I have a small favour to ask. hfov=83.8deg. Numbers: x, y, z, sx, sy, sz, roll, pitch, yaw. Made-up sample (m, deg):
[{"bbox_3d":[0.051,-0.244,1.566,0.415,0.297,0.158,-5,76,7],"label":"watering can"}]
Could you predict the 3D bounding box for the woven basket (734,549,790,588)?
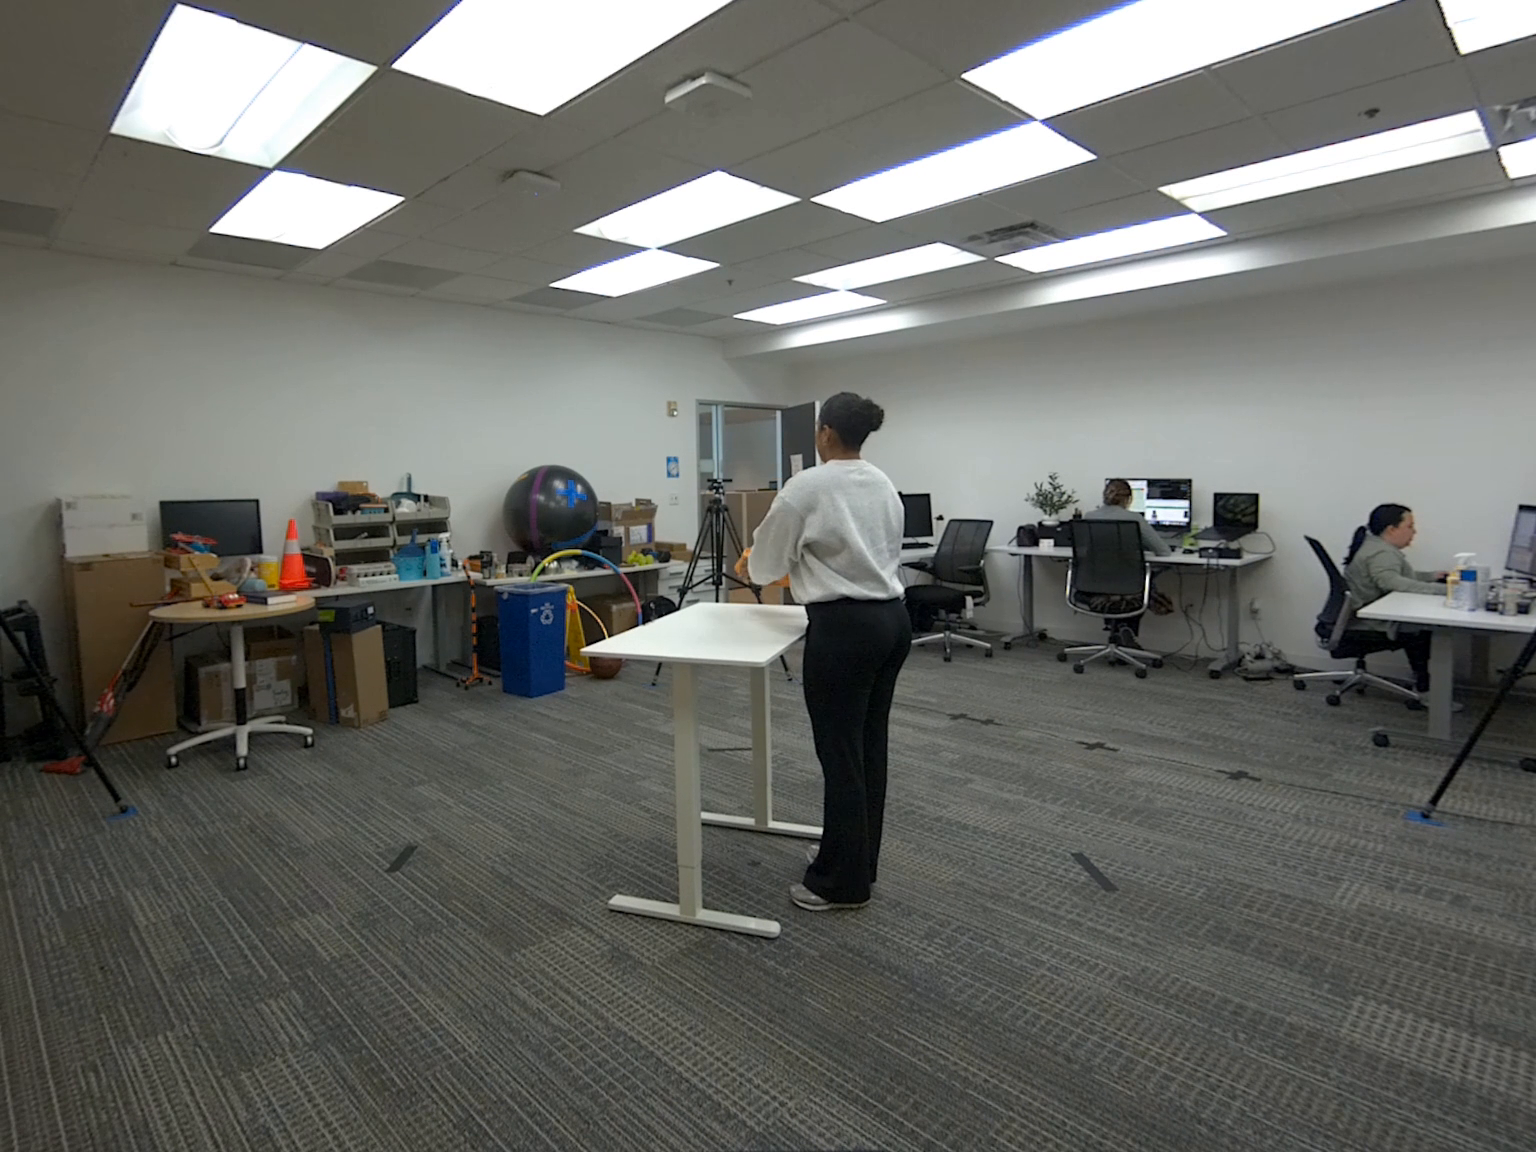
[{"bbox_3d":[0.043,-0.051,3.231,0.249,0.073,0.358,-2,11,-15],"label":"woven basket"}]
